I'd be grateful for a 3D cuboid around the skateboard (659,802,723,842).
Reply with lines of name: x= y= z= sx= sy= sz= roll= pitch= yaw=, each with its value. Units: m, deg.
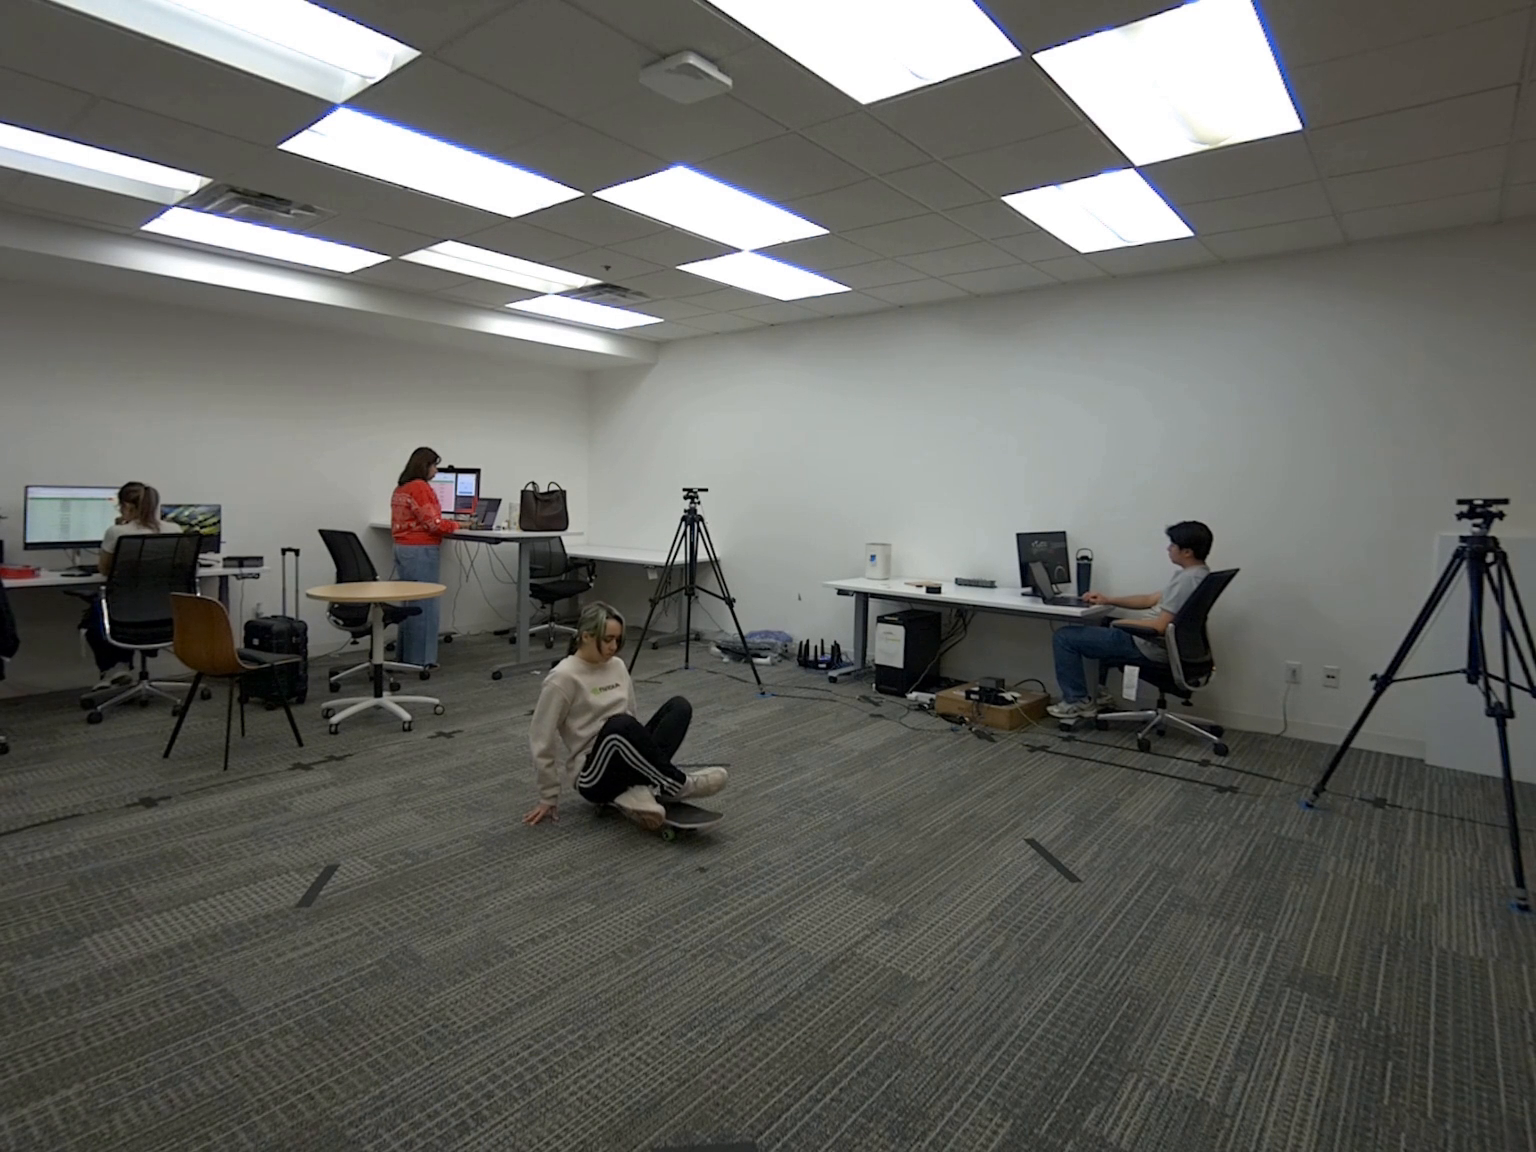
skateboard: x=-0.528 y=0.978 z=3.545 sx=0.811 sy=0.110 sz=0.188 roll=5 pitch=7 yaw=37
